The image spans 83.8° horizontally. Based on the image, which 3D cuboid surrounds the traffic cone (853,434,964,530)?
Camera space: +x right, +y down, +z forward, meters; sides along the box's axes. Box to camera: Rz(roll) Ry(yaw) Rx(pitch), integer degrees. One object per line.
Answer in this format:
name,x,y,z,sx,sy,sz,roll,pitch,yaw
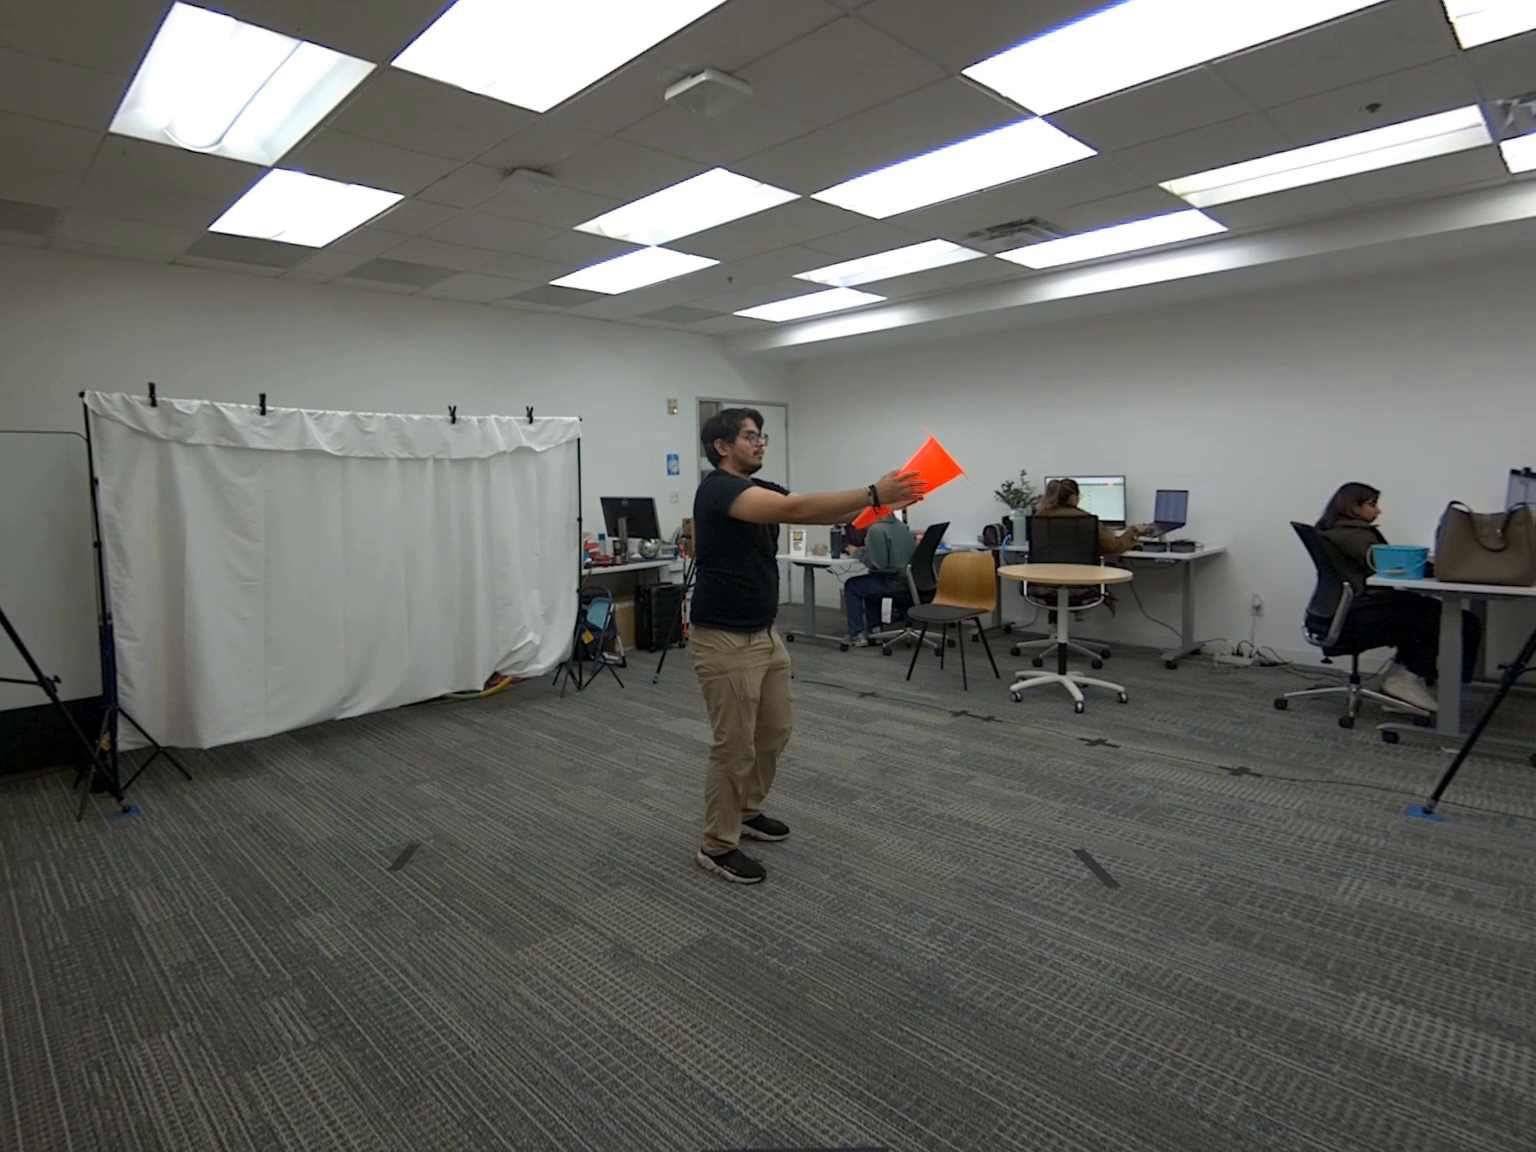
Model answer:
traffic cone,0.449,-0.277,2.821,0.384,0.208,0.200,-38,-18,14
